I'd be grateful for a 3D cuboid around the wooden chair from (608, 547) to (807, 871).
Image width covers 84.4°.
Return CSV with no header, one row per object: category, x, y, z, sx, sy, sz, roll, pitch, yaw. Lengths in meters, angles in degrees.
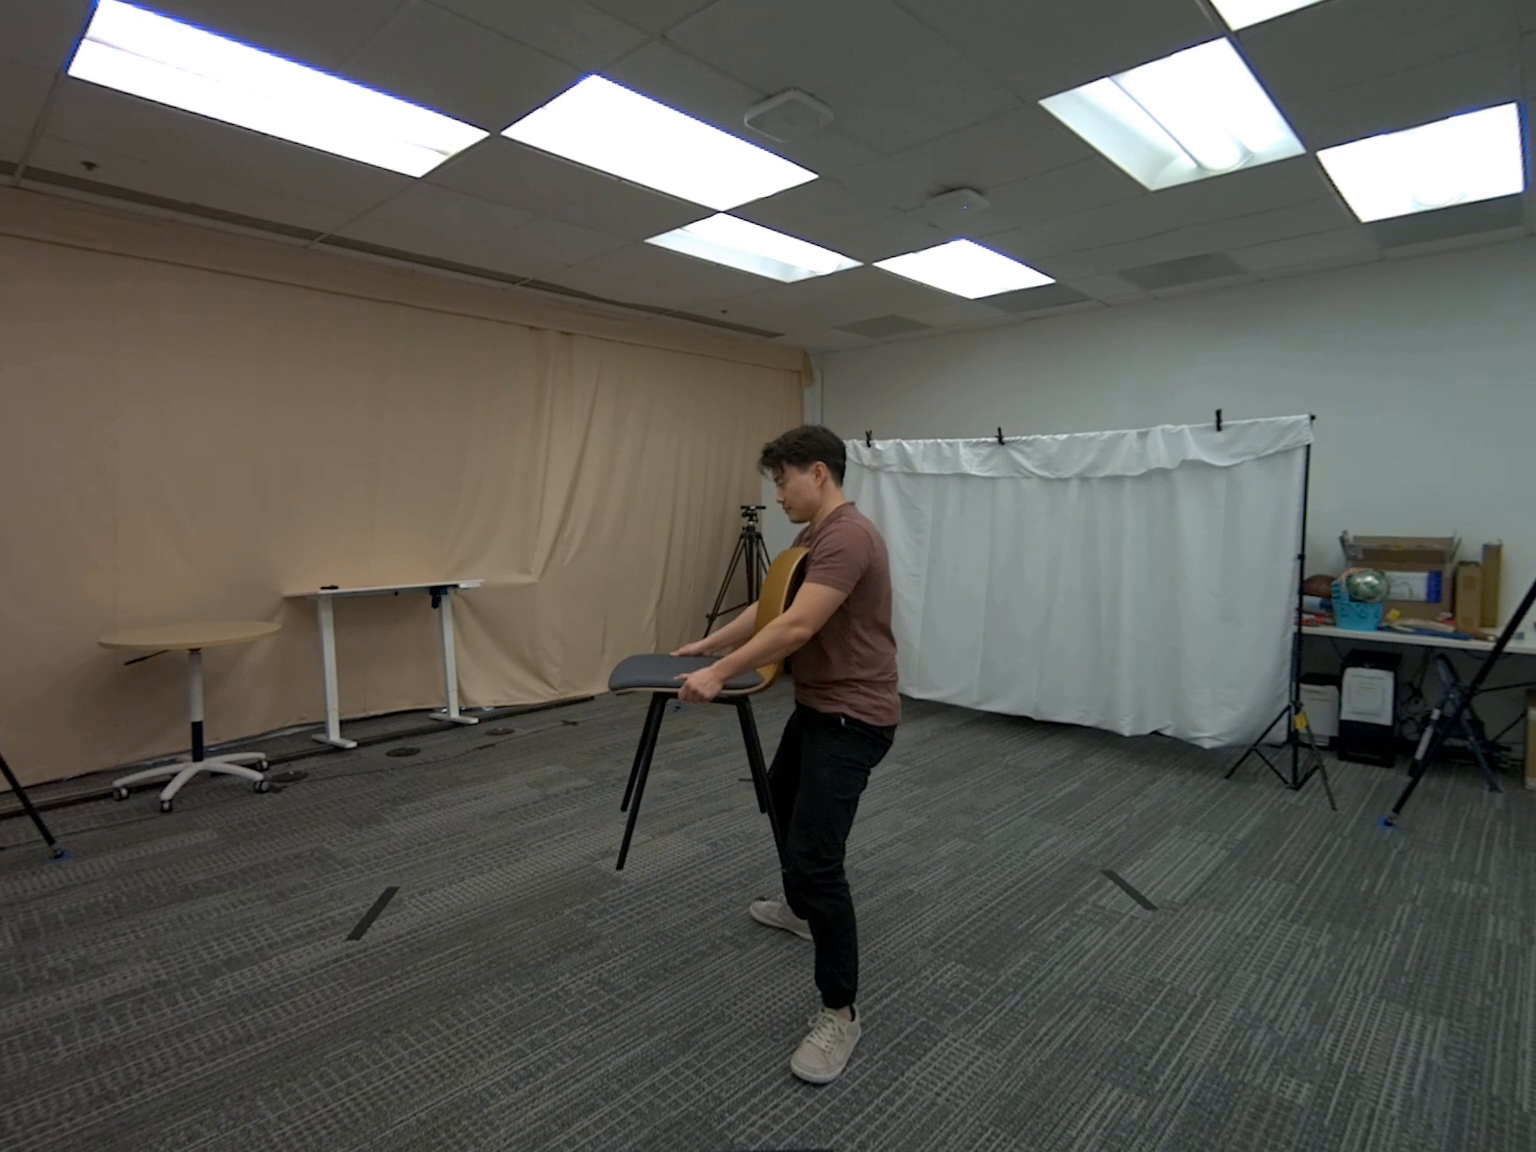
wooden chair,-0.193,0.347,2.386,0.519,0.876,0.482,6,2,-7
